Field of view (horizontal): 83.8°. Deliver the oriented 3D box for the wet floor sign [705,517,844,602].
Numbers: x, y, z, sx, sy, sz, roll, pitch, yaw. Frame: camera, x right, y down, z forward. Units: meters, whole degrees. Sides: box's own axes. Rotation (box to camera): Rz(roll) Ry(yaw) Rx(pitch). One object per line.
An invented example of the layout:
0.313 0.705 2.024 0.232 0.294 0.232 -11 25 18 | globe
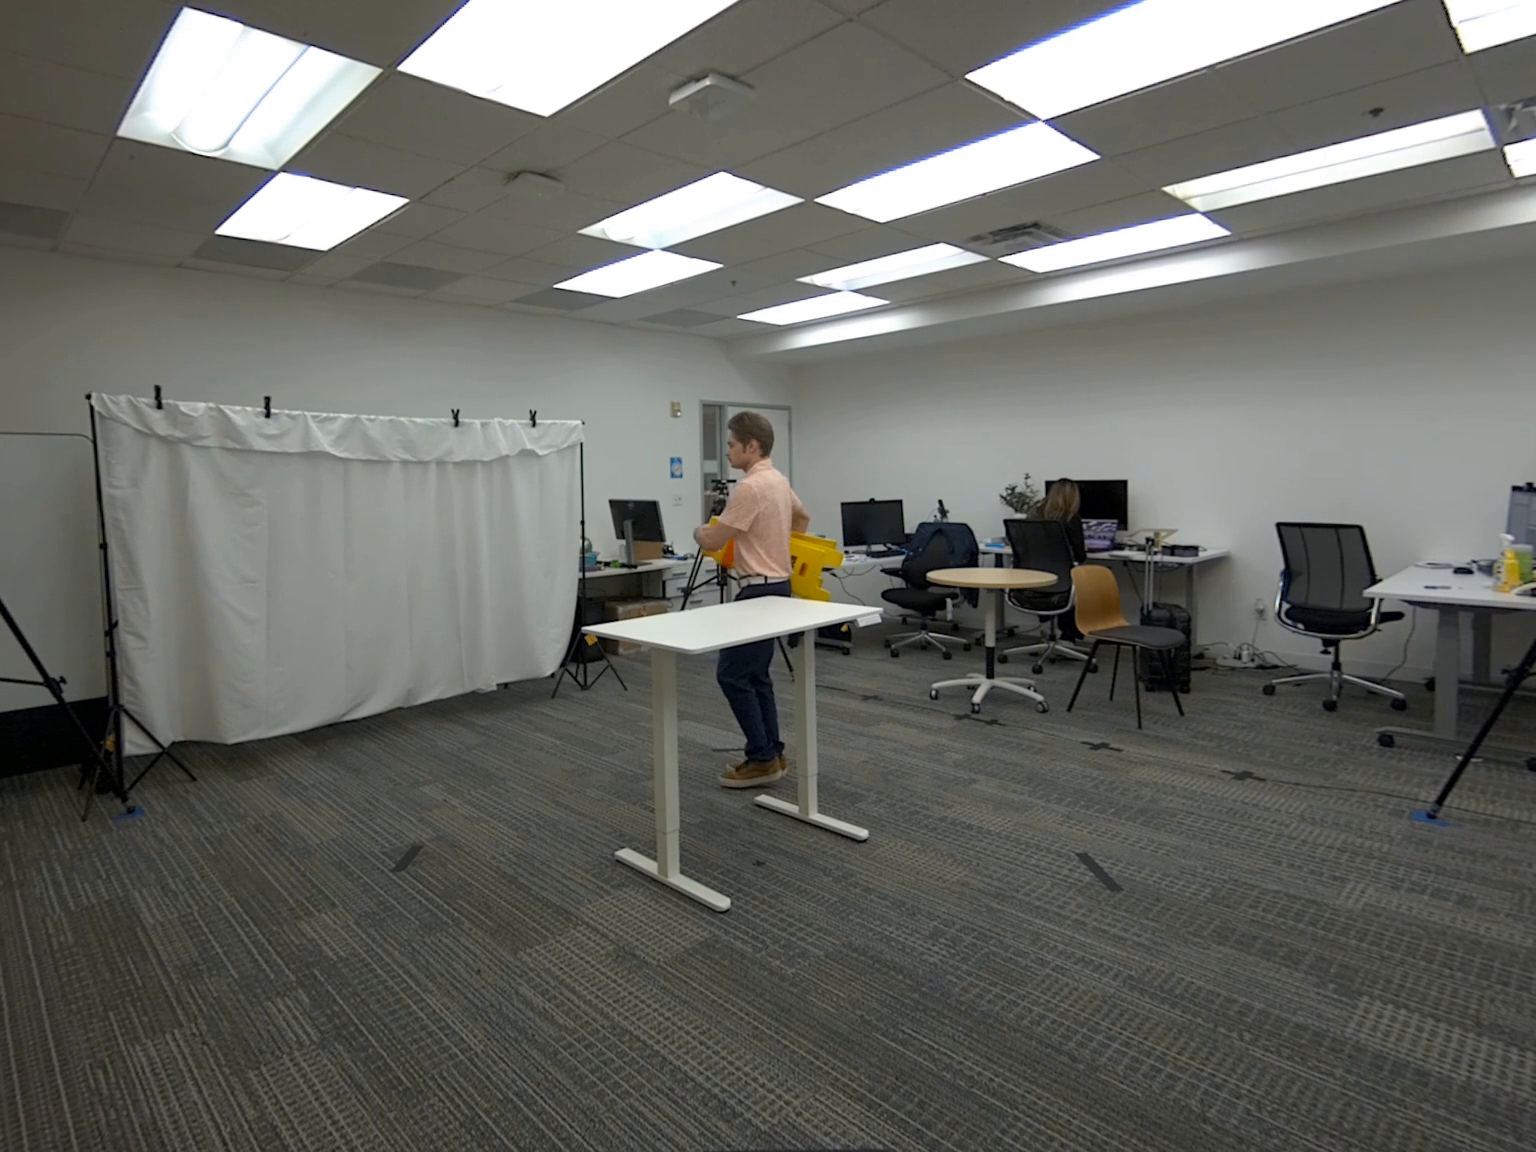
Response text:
0.005 -0.097 4.168 0.644 0.280 0.293 18 12 -3 | wet floor sign
